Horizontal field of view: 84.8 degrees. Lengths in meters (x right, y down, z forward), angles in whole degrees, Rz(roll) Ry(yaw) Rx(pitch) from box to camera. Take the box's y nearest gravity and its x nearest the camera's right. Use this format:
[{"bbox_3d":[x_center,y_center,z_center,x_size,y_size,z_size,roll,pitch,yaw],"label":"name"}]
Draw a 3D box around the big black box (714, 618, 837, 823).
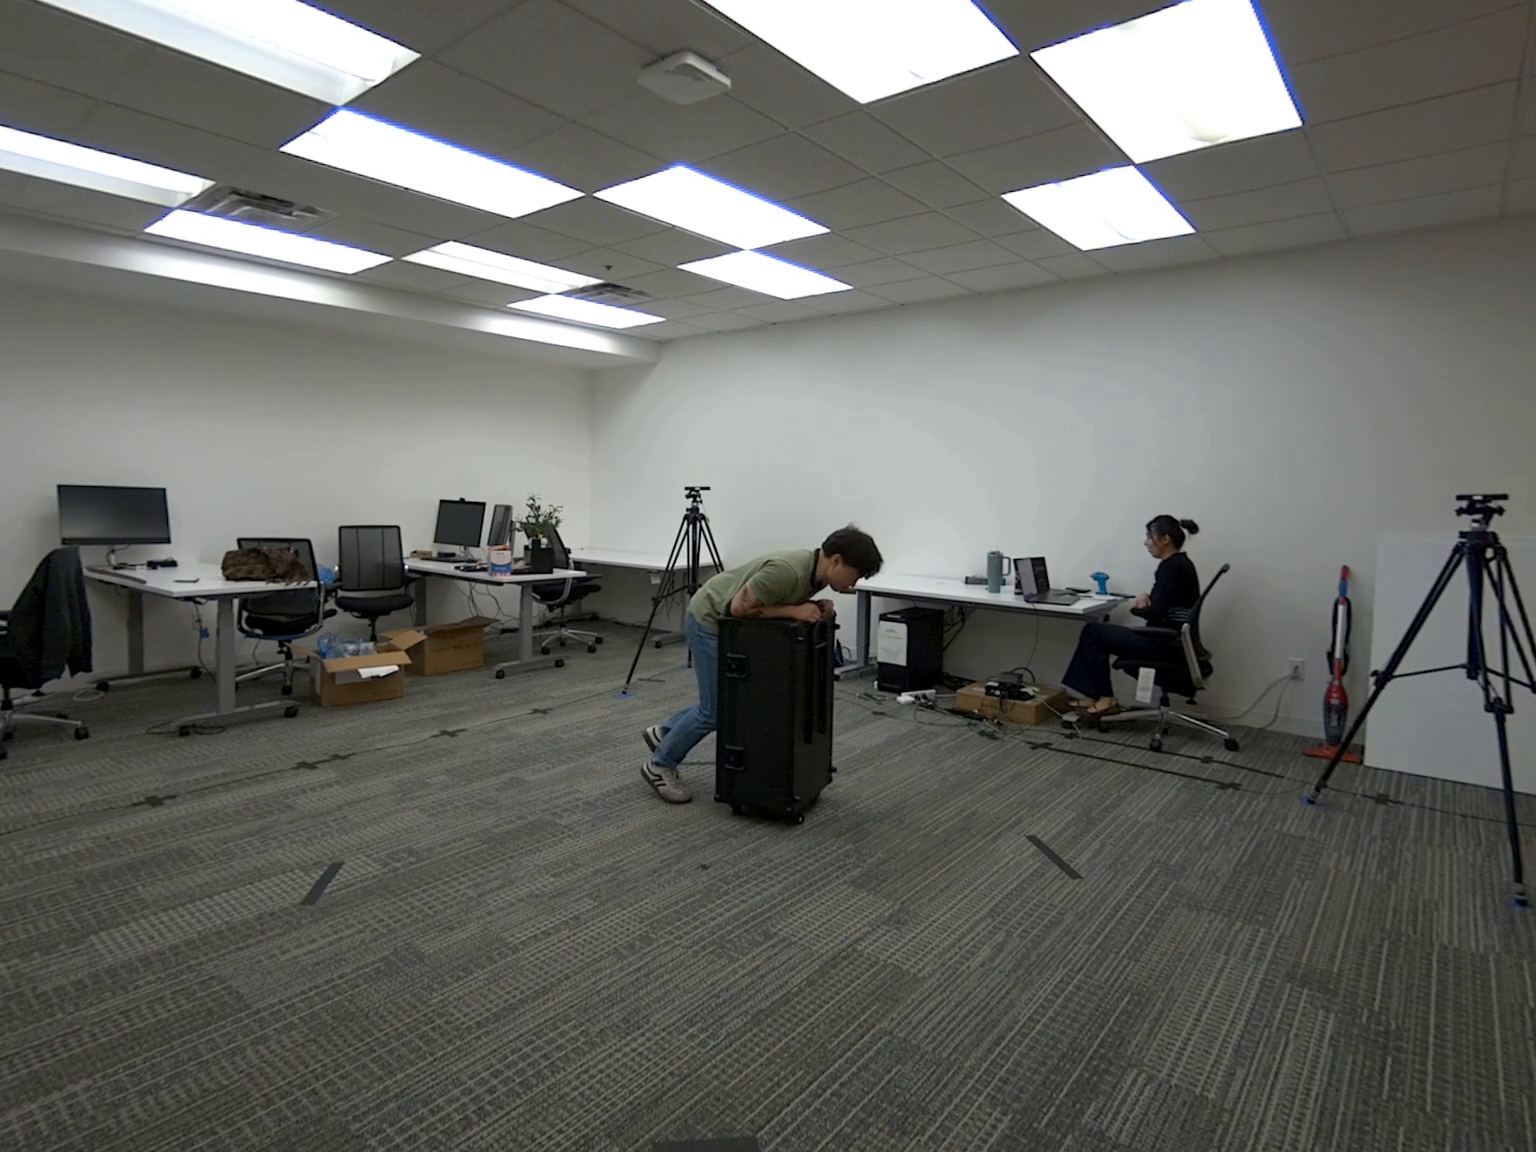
[{"bbox_3d":[0.047,0.589,3.701,0.407,0.859,0.509,3,3,24],"label":"big black box"}]
